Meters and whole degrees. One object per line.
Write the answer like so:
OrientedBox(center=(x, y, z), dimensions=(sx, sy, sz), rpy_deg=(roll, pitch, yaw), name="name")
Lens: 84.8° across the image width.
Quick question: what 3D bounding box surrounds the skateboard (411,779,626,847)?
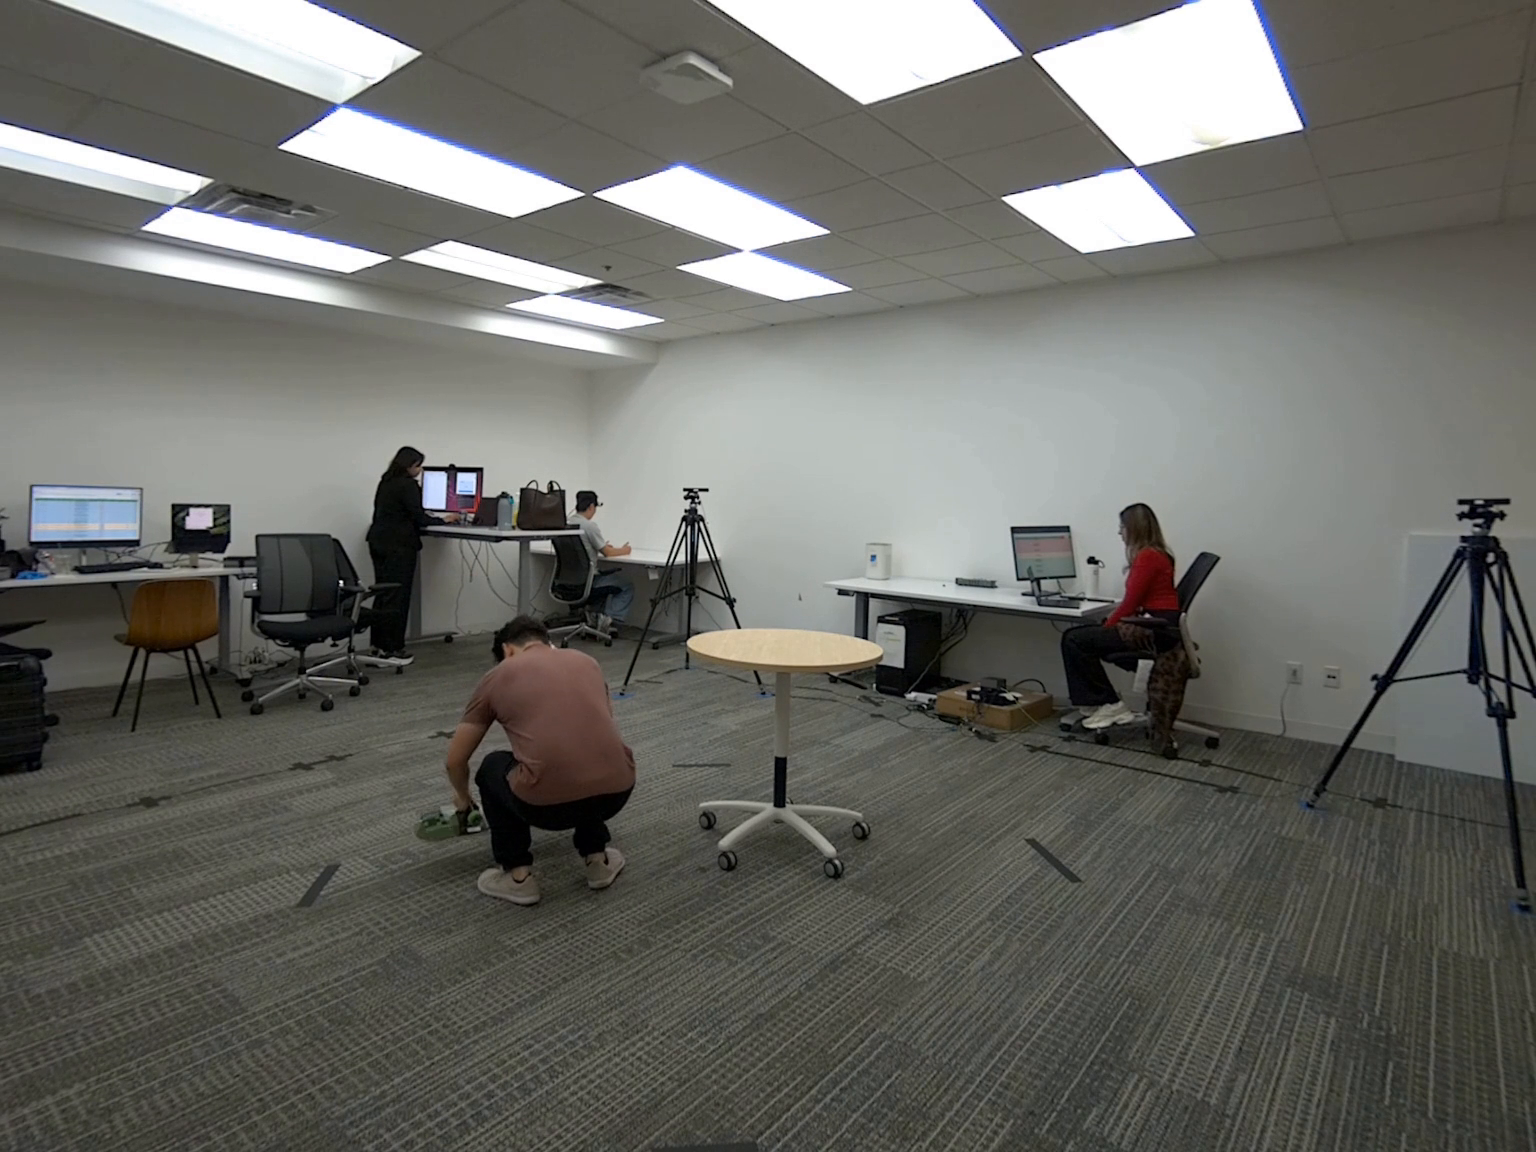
OrientedBox(center=(-0.945, 0.865, 3.243), dimensions=(0.763, 0.109, 0.201), rpy_deg=(-1, 21, -31), name="skateboard")
